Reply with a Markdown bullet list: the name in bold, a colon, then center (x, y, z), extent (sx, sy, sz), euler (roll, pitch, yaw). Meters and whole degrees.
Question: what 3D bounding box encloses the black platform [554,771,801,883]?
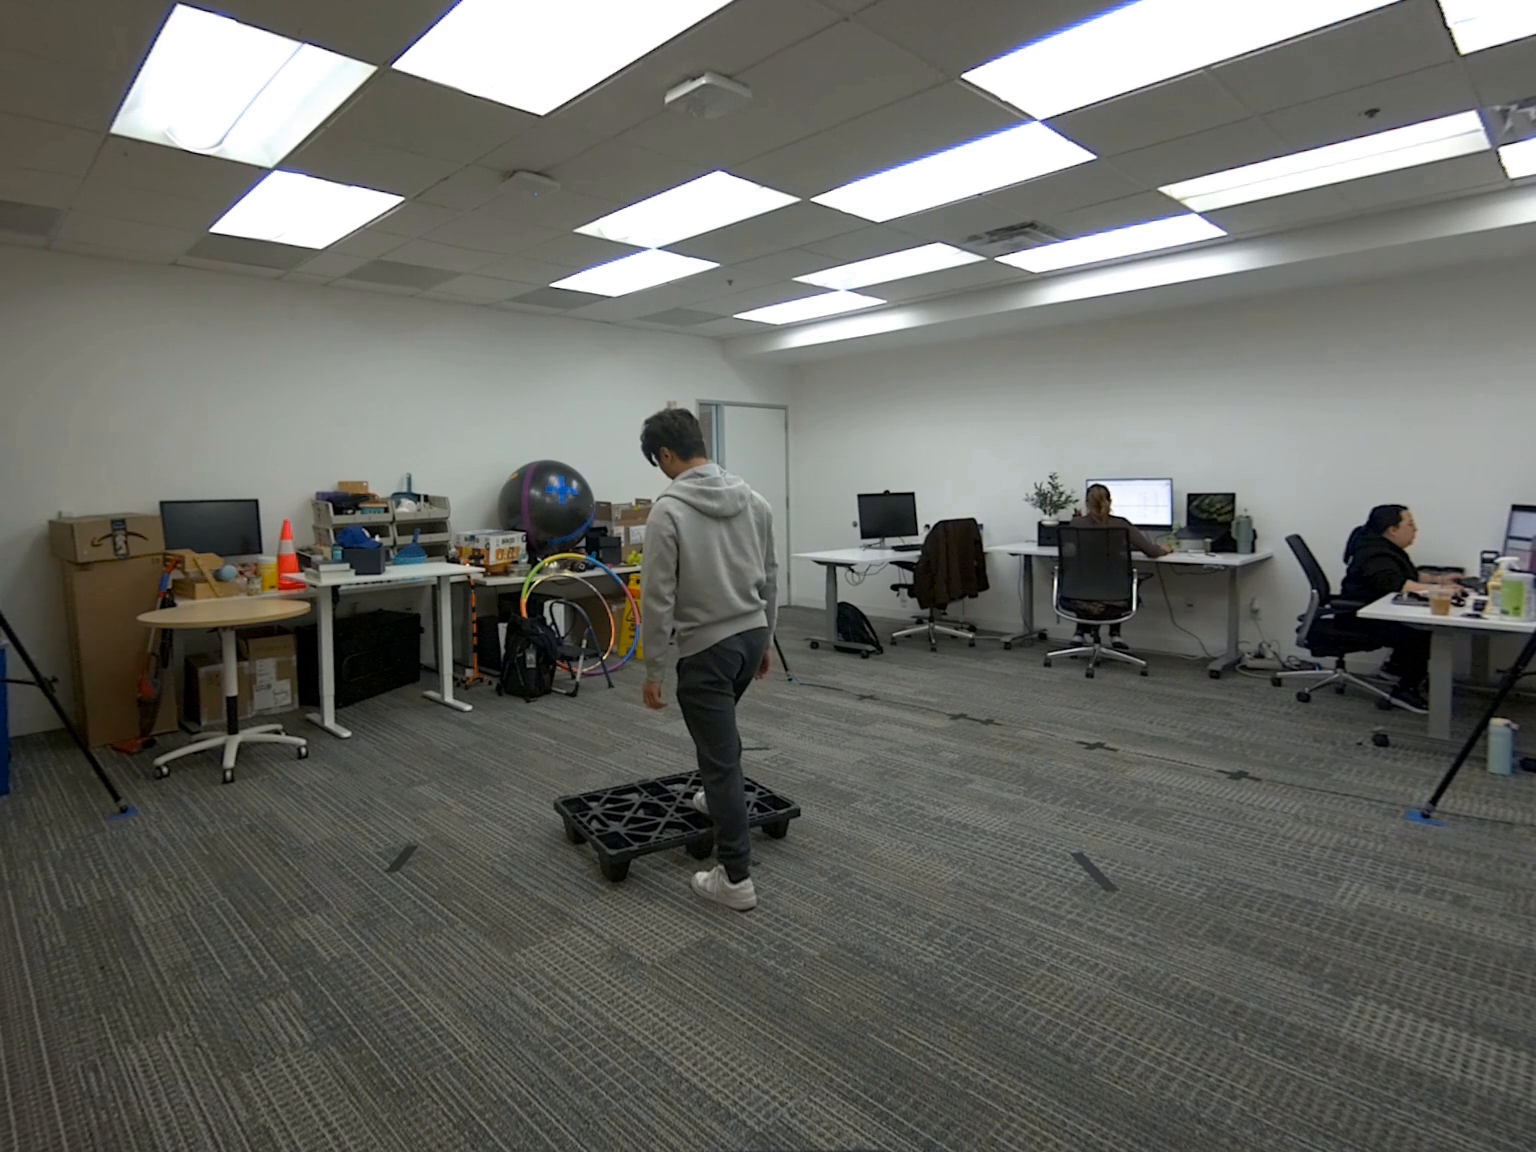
- **black platform**: center (-0.353, 0.956, 3.351), extent (0.786, 0.142, 0.623), euler (-5, 8, -31)
